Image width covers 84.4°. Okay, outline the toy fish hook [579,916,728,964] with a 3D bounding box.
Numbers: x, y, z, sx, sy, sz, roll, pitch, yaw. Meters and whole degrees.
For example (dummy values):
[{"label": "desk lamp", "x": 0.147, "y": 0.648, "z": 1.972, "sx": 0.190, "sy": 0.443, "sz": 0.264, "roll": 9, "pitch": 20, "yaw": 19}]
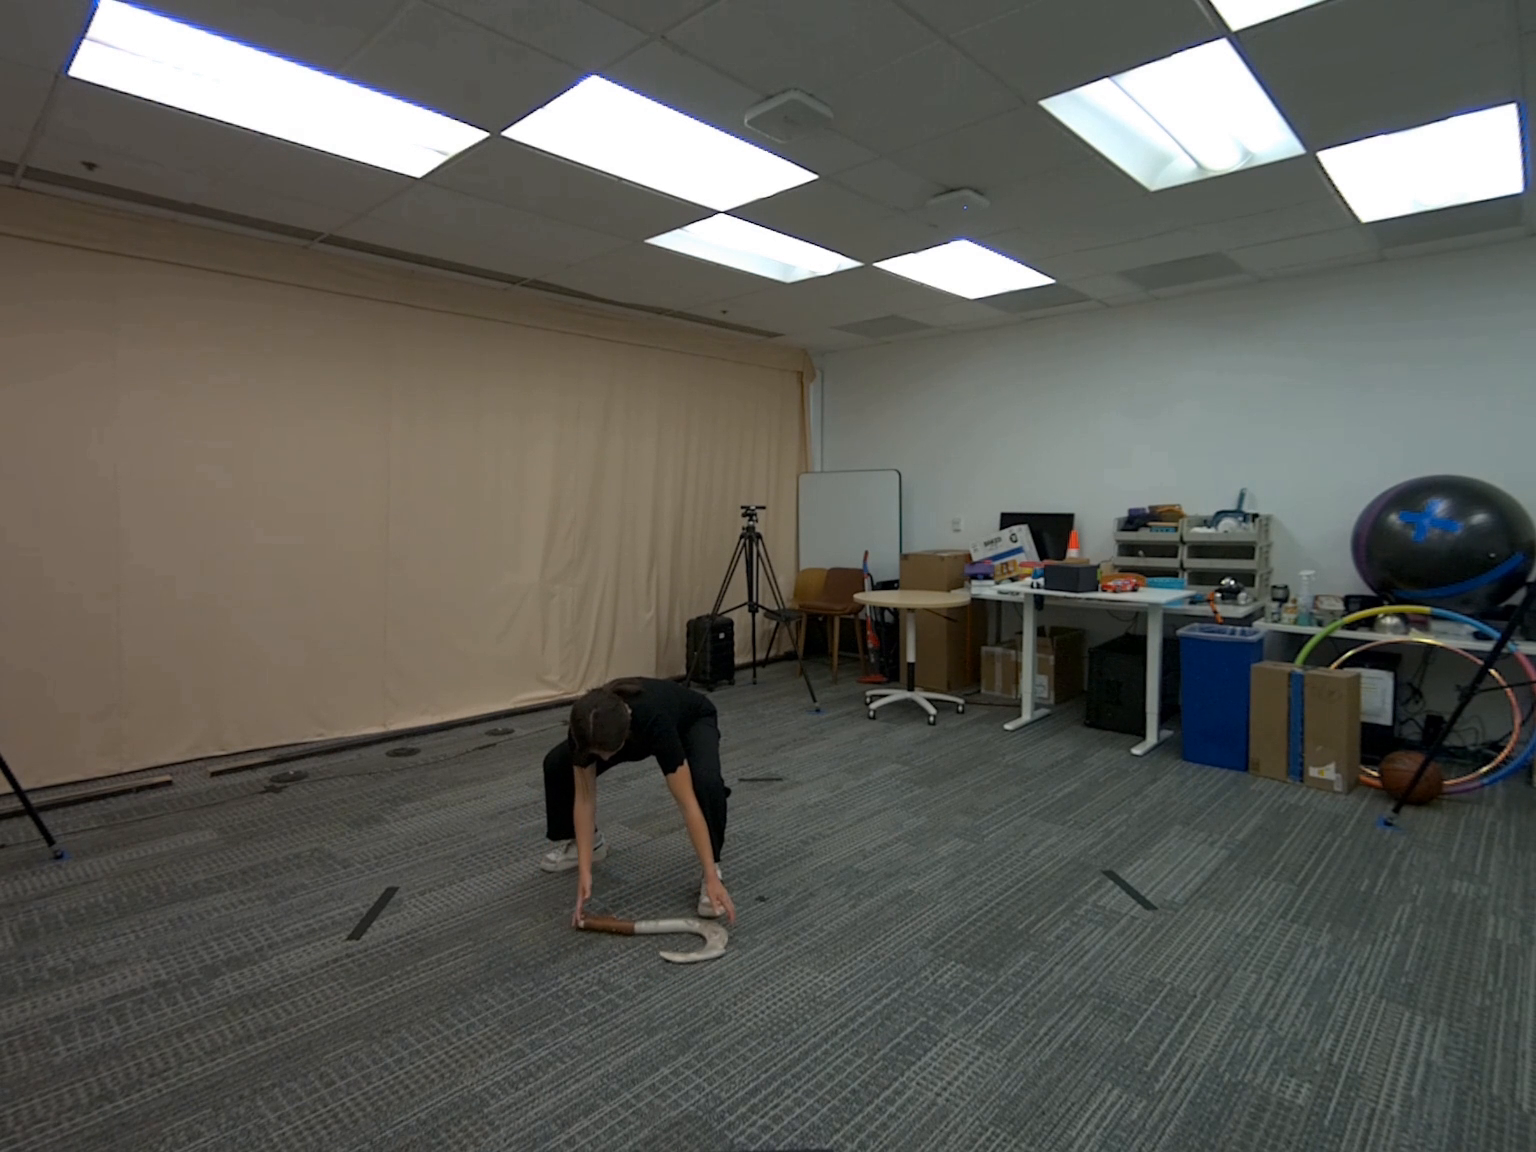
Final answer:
[{"label": "toy fish hook", "x": -0.394, "y": 1.151, "z": 2.689, "sx": 0.512, "sy": 0.048, "sz": 0.222, "roll": 0, "pitch": 3, "yaw": 9}]
